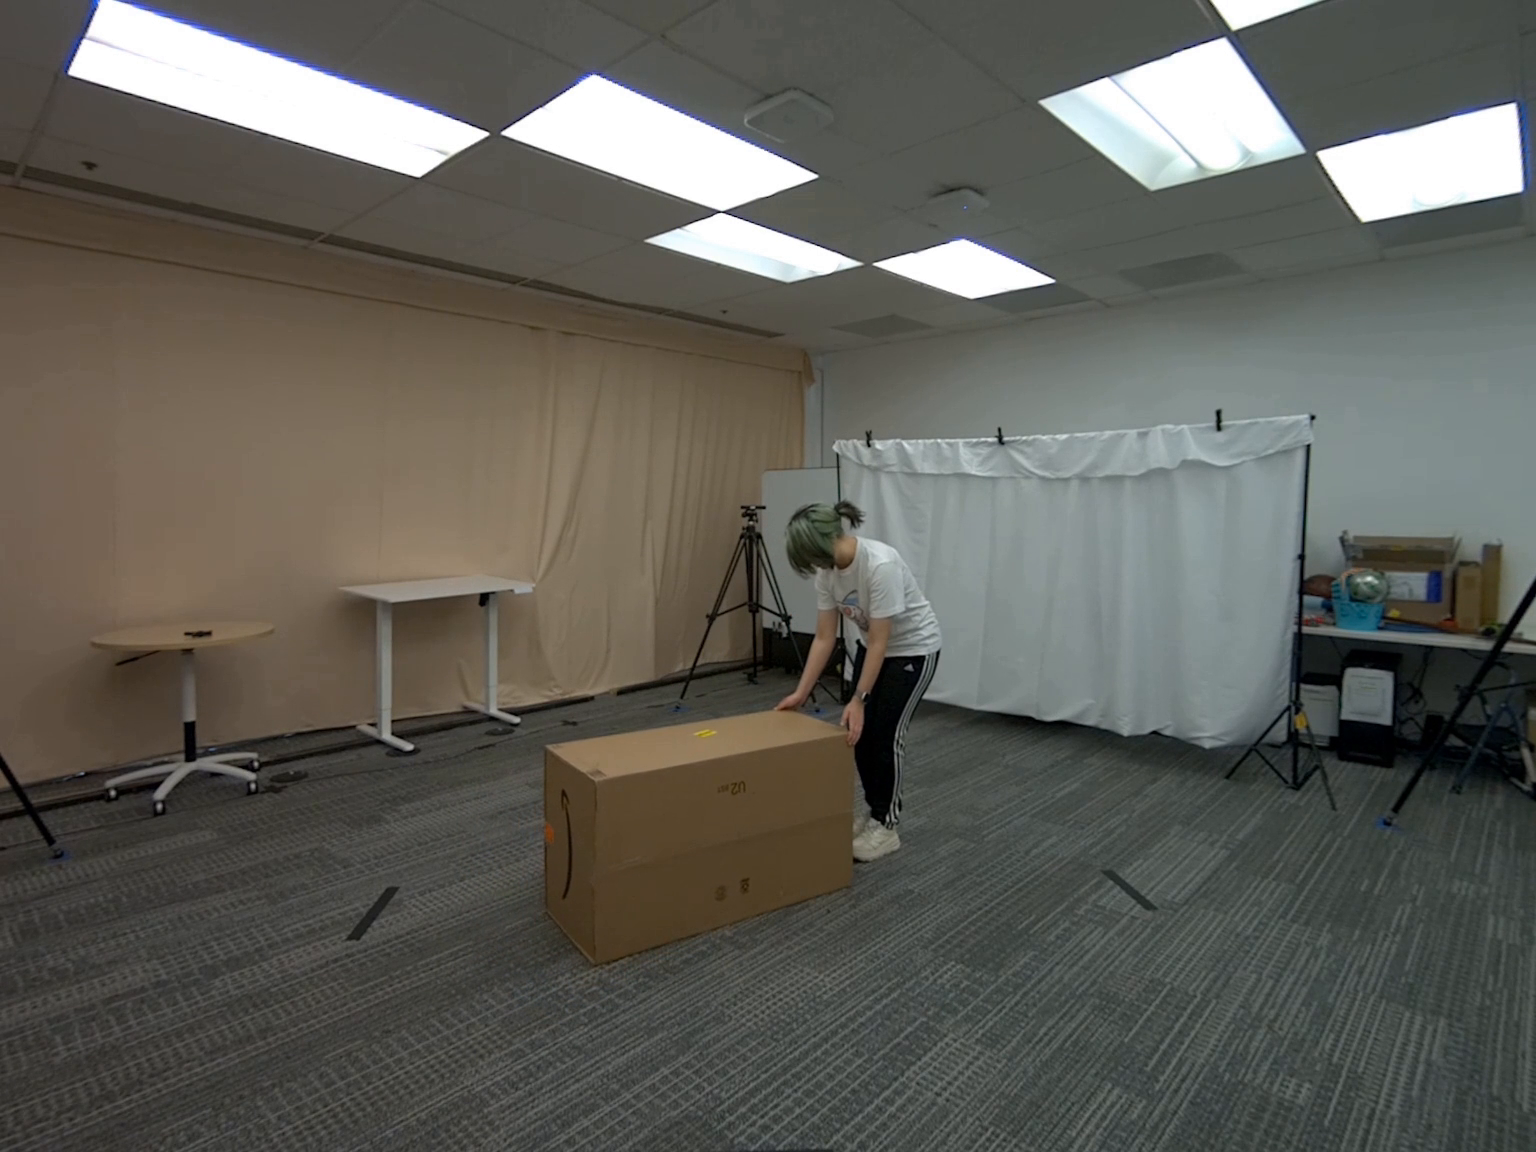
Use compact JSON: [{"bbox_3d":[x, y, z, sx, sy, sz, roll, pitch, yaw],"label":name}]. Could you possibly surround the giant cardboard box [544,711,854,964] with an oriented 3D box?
[{"bbox_3d":[-0.229,0.860,2.969,0.998,0.583,0.460,-3,3,-33],"label":"giant cardboard box"}]
